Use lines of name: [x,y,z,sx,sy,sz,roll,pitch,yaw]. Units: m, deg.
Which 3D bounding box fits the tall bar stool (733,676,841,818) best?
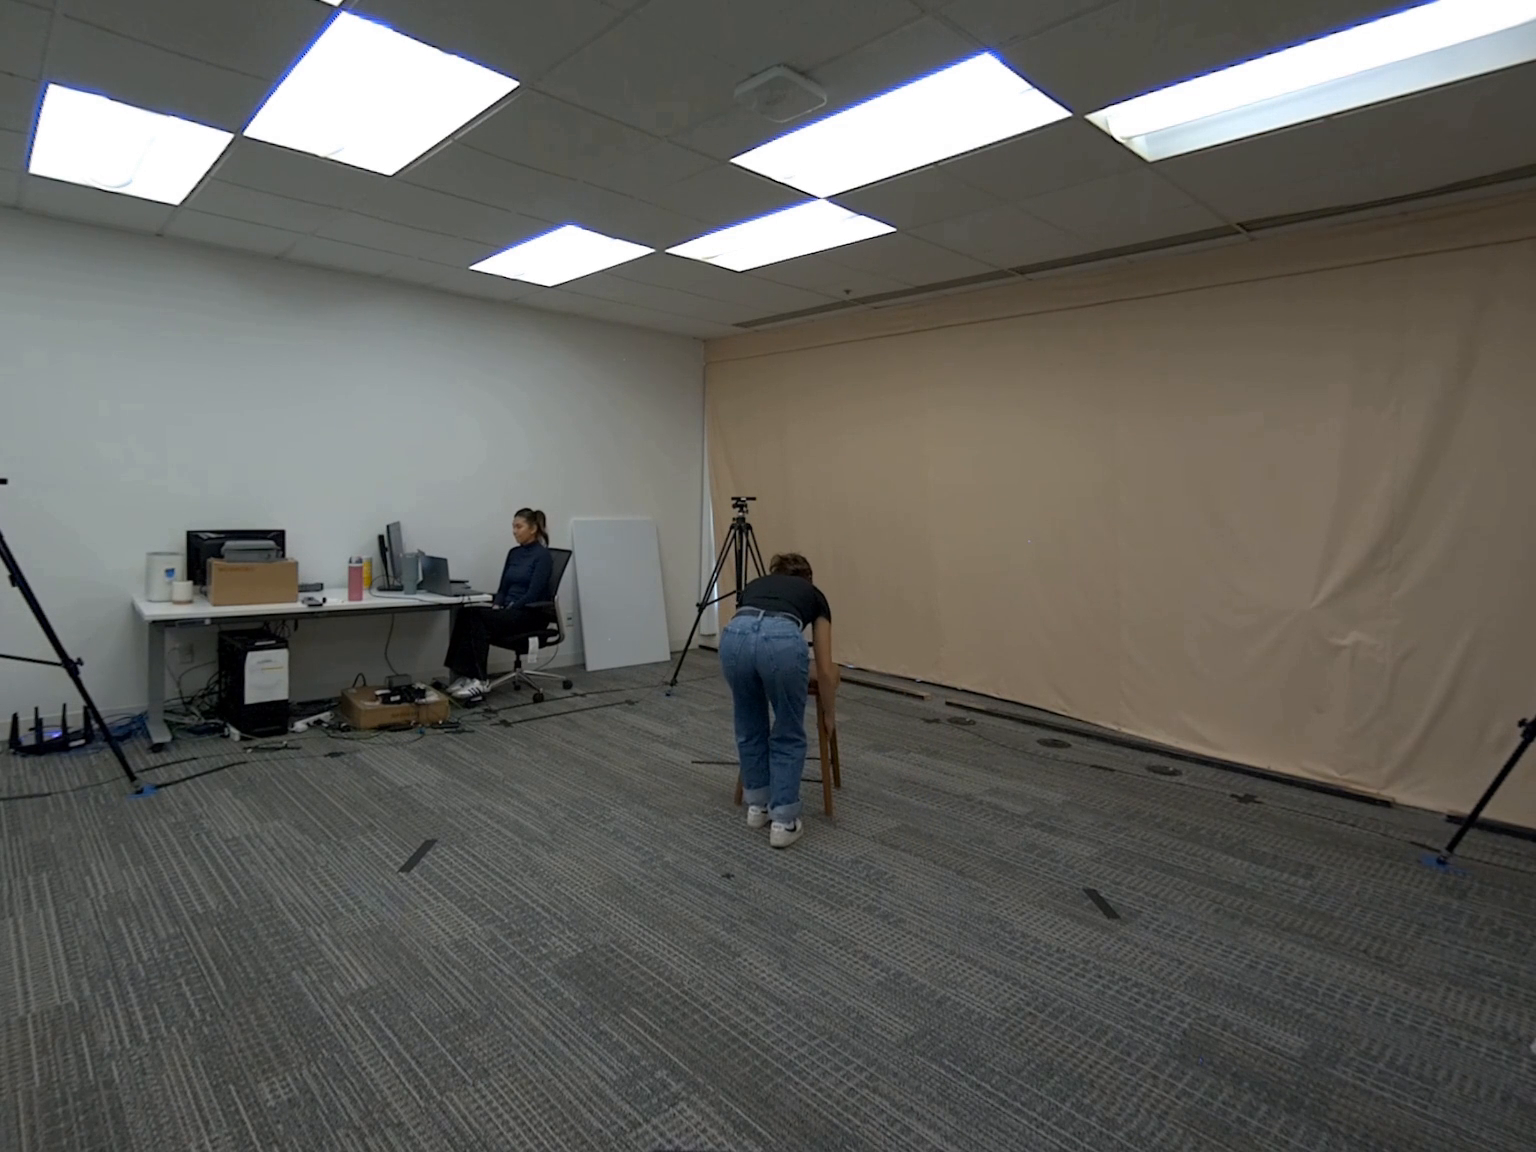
tall bar stool: [0.102,0.606,3.953,0.472,0.888,0.452,1,3,12]
